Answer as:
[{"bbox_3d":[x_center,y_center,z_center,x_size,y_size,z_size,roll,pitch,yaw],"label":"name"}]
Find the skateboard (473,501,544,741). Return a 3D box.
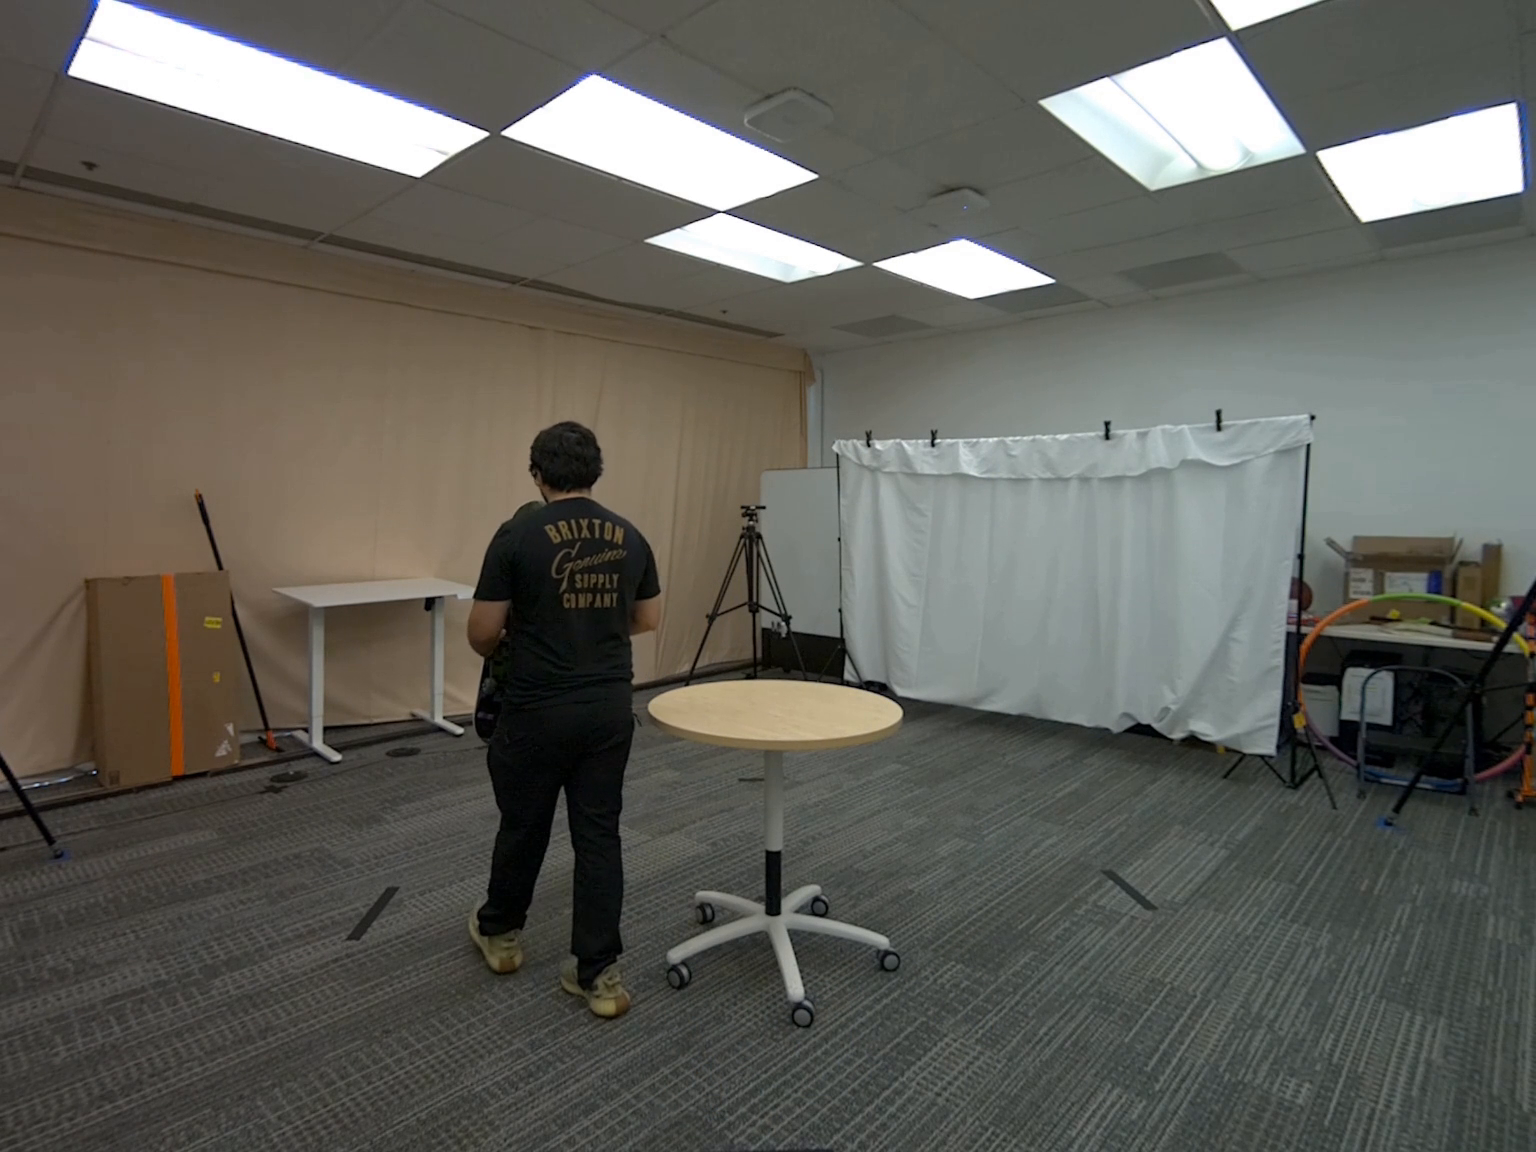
[{"bbox_3d":[-0.777,0.148,2.622,0.188,0.787,0.113,11,-4,-28],"label":"skateboard"}]
